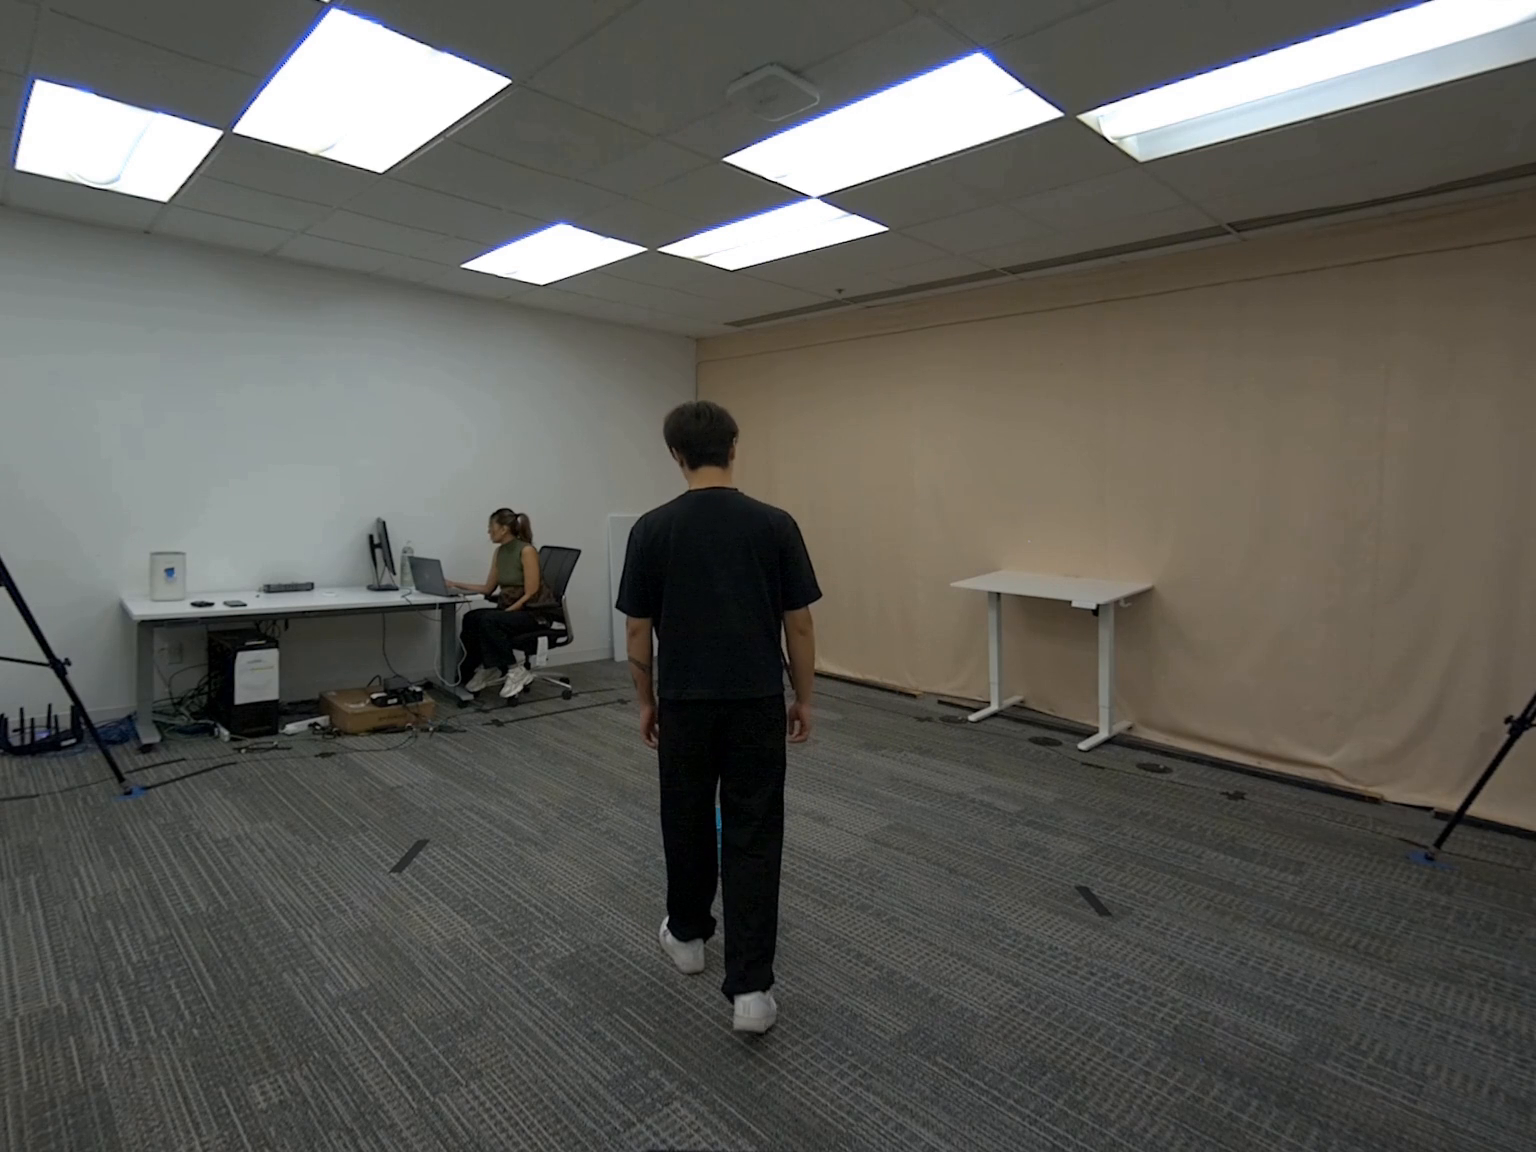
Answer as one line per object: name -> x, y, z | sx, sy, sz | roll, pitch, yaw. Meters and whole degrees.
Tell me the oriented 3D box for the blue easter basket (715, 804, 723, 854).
blue easter basket -> -0.224, 1.010, 3.279 | 0.243, 0.155, 0.244 | 2, 4, -1
